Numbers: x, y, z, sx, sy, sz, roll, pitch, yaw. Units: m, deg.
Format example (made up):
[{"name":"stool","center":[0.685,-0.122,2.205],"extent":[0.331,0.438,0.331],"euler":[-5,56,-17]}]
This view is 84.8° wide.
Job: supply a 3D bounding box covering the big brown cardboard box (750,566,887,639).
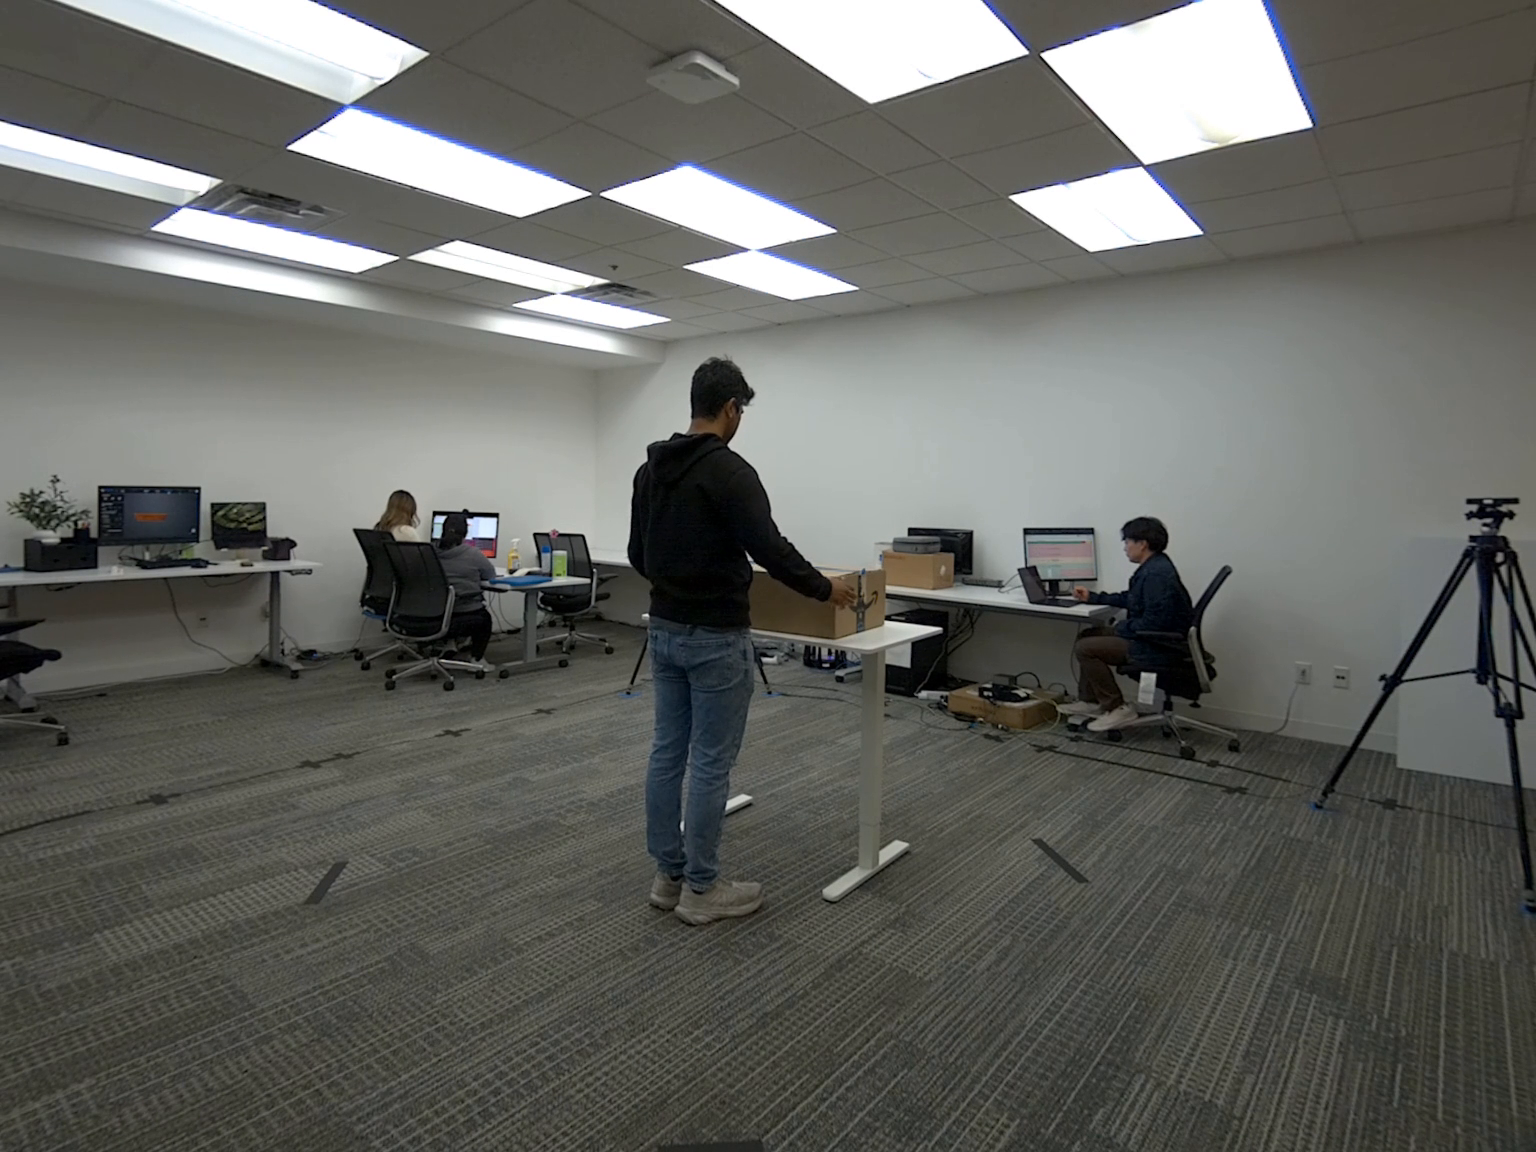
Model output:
[{"name":"big brown cardboard box","center":[0.087,0.069,3.225],"extent":[0.608,0.232,0.406],"euler":[6,7,33]}]
